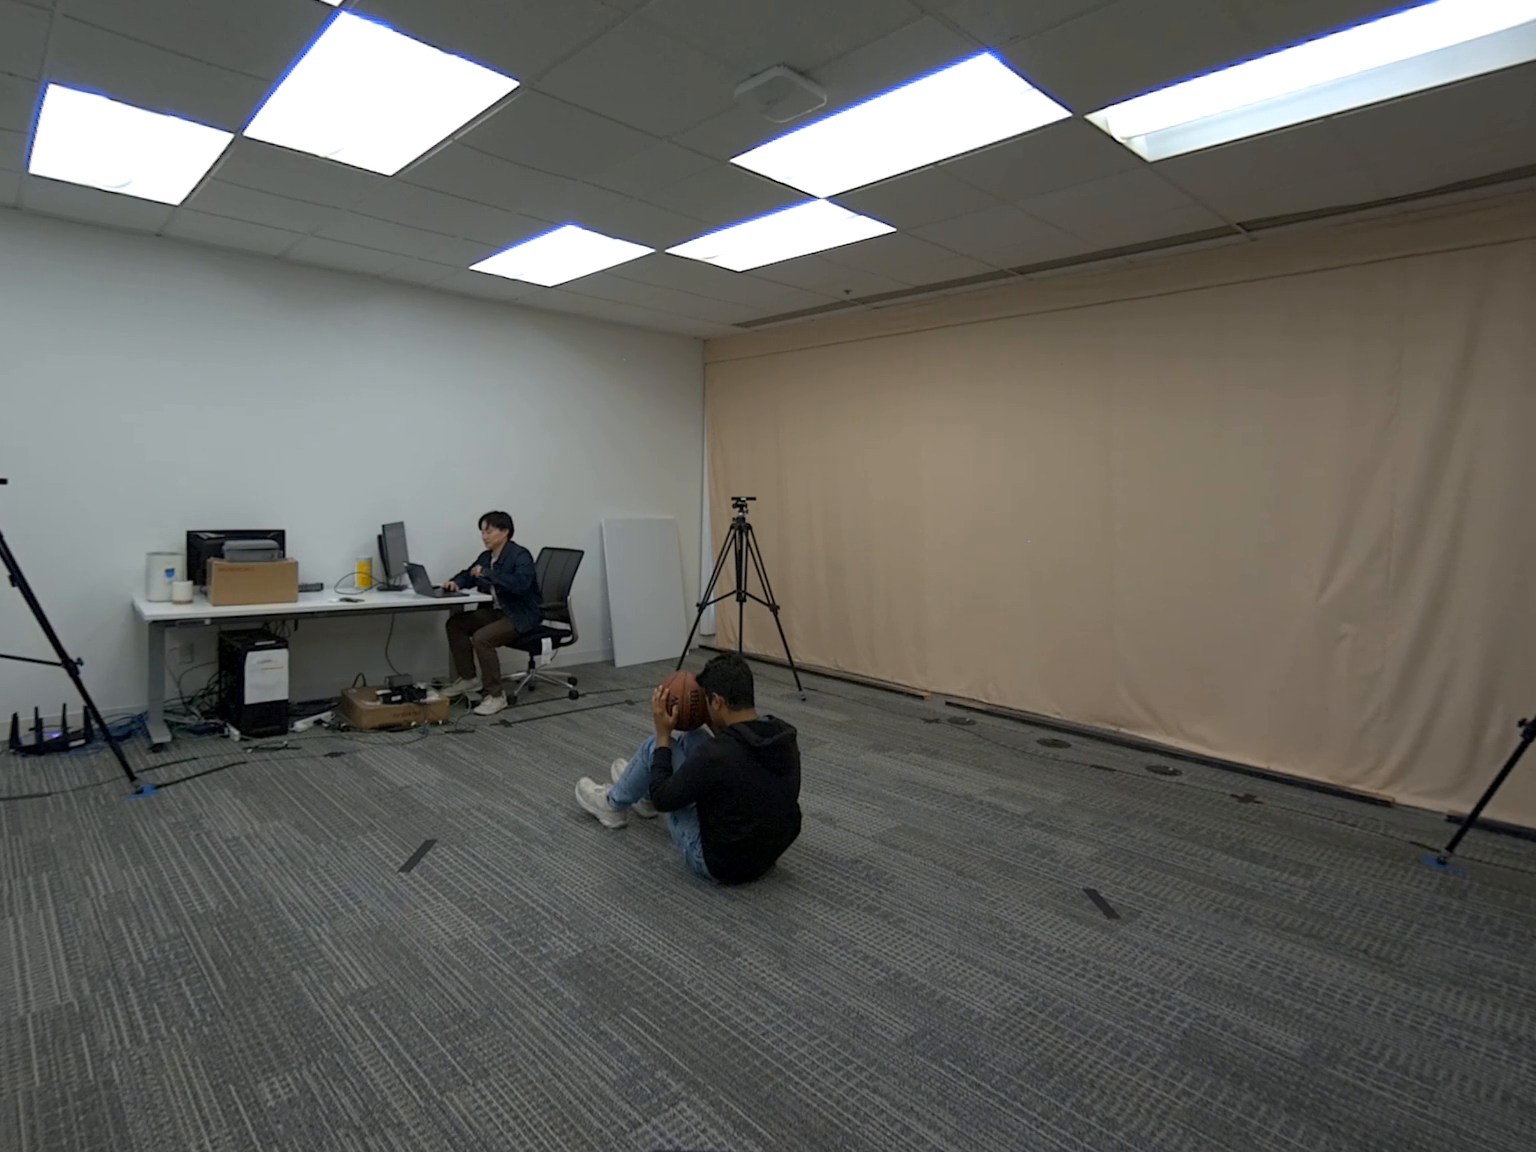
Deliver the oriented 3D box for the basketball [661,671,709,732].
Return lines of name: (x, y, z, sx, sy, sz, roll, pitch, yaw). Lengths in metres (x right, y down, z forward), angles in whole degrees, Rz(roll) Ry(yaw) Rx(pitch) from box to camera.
basketball: (-0.322, 0.486, 3.318, 0.236, 0.235, 0.237, 1, 4, -1)
